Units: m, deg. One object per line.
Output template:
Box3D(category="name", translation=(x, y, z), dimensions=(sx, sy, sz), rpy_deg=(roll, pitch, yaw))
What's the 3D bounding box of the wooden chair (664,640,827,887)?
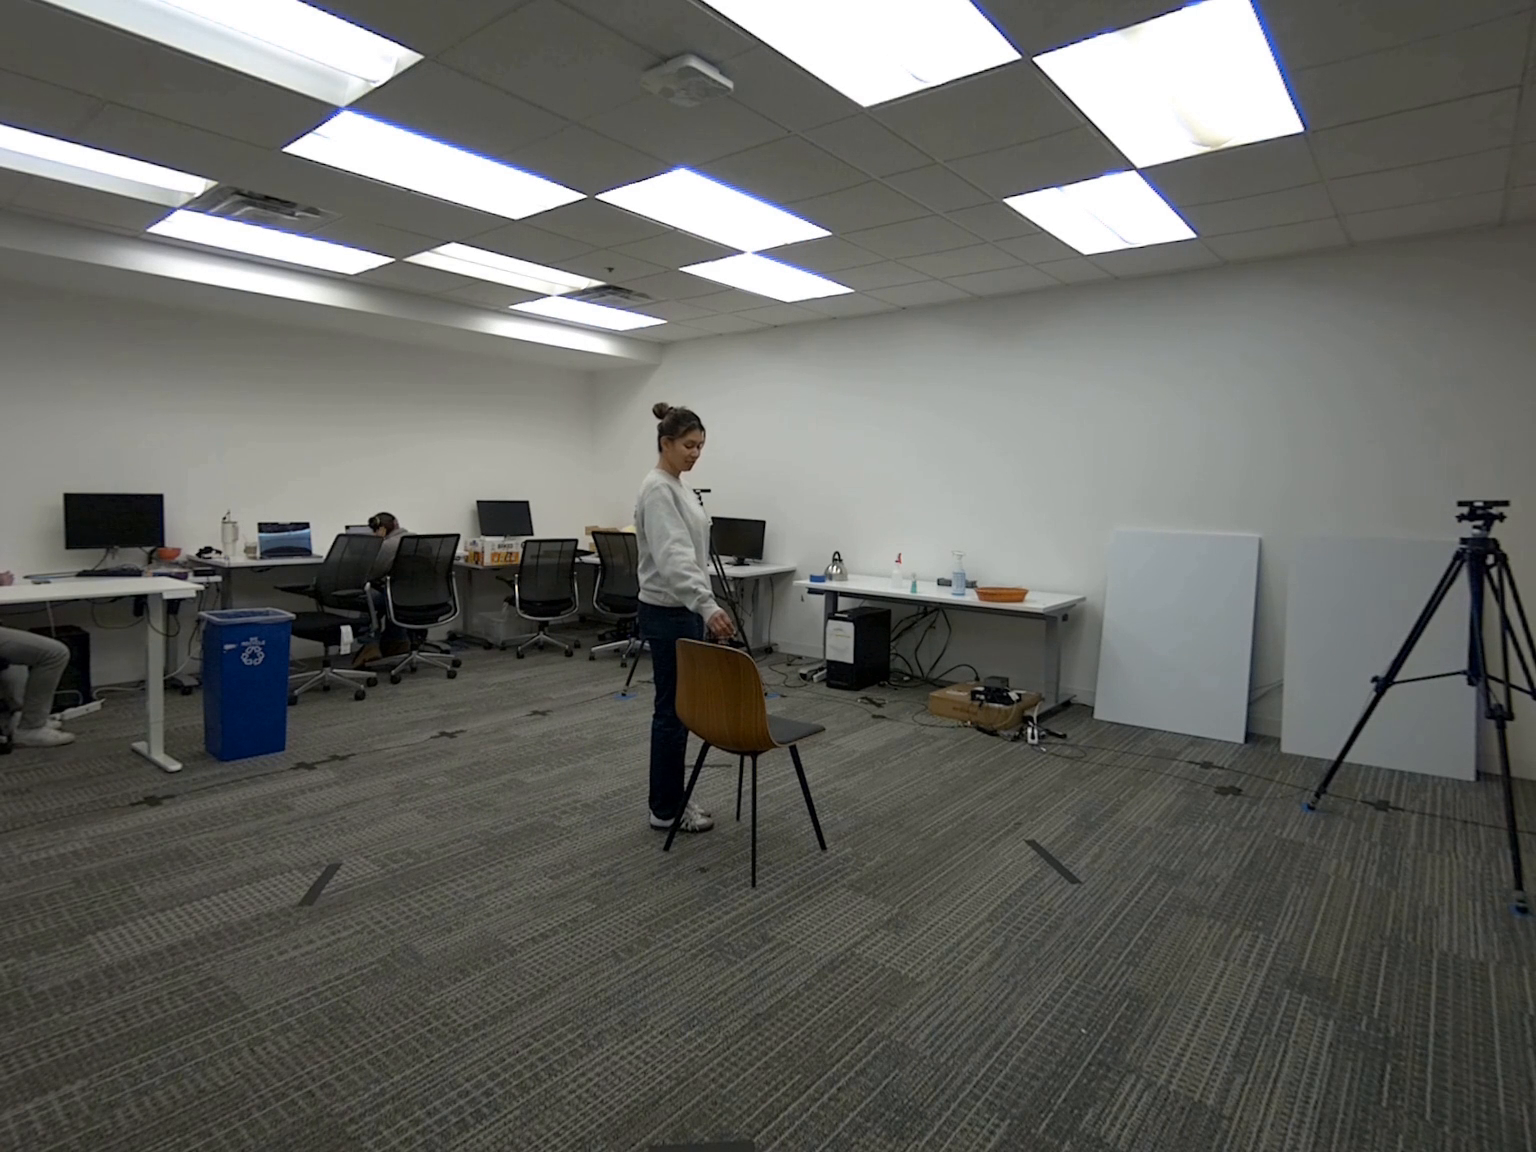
Box3D(category="wooden chair", translation=(-0.080, 0.635, 3.266), dimensions=(0.494, 0.872, 0.509), rpy_deg=(3, 8, 39))
